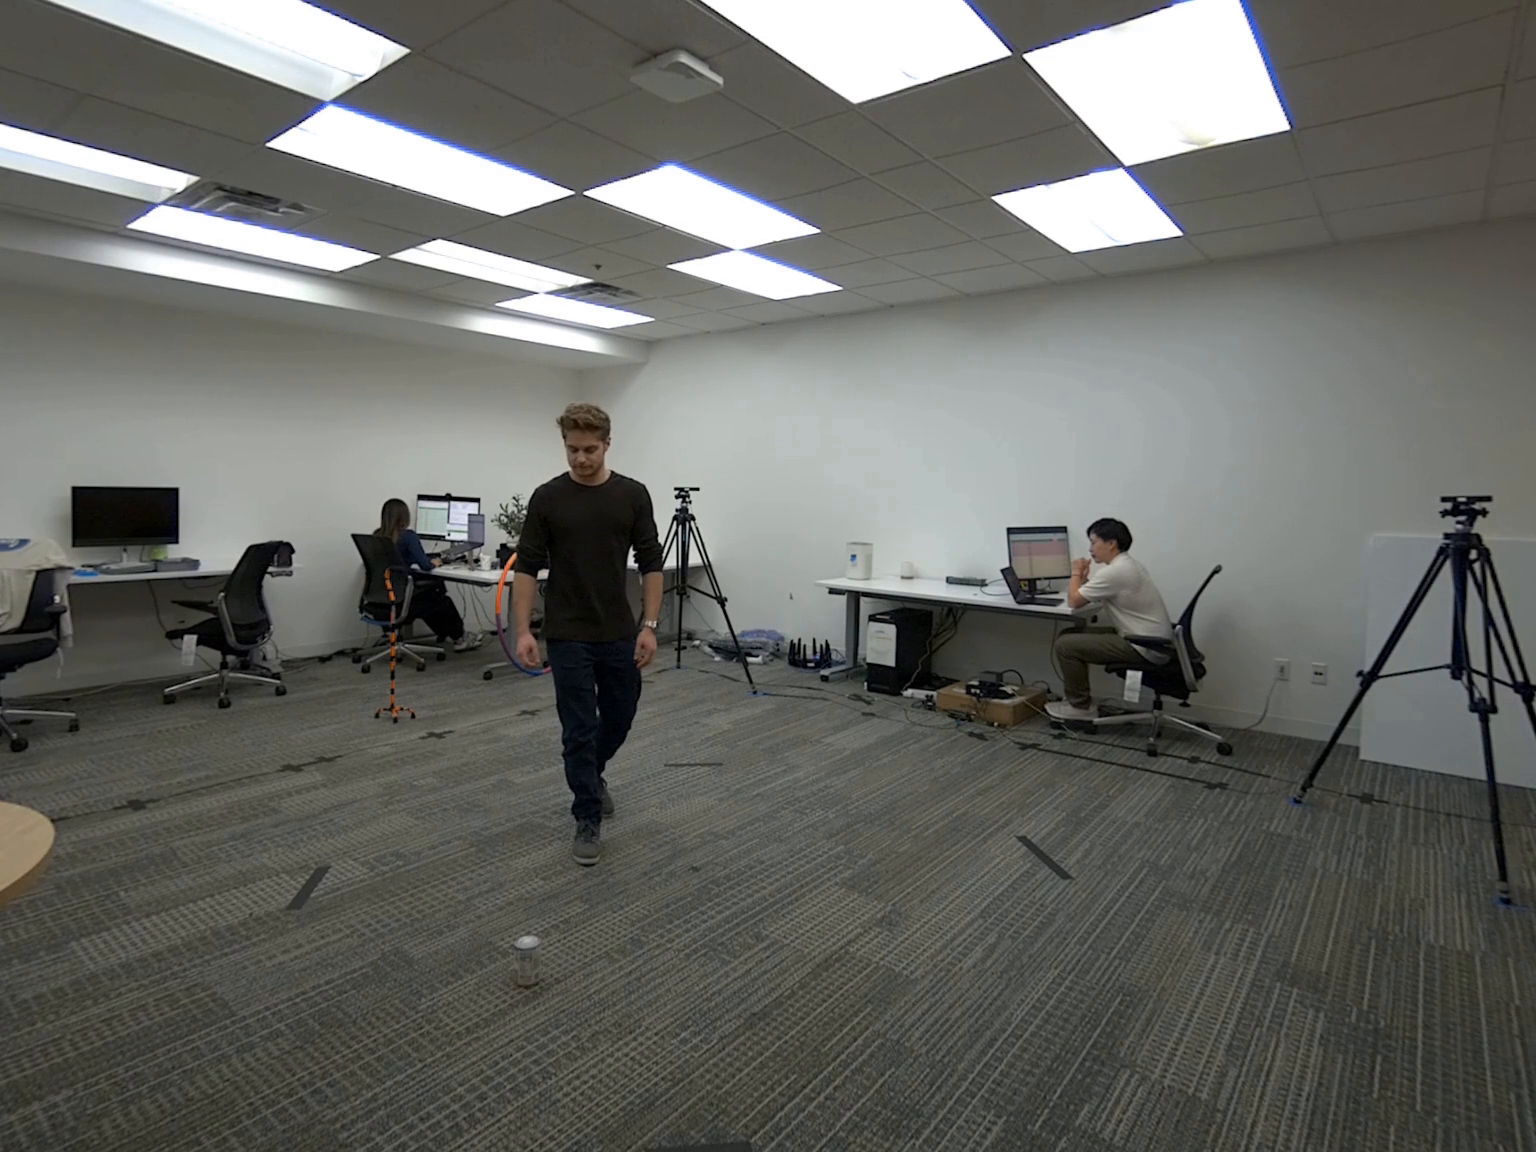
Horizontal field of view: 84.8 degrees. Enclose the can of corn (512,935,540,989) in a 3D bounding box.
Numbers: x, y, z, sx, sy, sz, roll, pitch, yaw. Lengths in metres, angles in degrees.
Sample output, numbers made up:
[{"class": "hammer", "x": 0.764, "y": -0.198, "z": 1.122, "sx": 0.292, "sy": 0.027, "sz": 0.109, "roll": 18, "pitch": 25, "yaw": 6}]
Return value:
[{"class": "can of corn", "x": -0.683, "y": 1.072, "z": 2.386, "sx": 0.074, "sy": 0.110, "sz": 0.074, "roll": 2, "pitch": 5, "yaw": -2}]
